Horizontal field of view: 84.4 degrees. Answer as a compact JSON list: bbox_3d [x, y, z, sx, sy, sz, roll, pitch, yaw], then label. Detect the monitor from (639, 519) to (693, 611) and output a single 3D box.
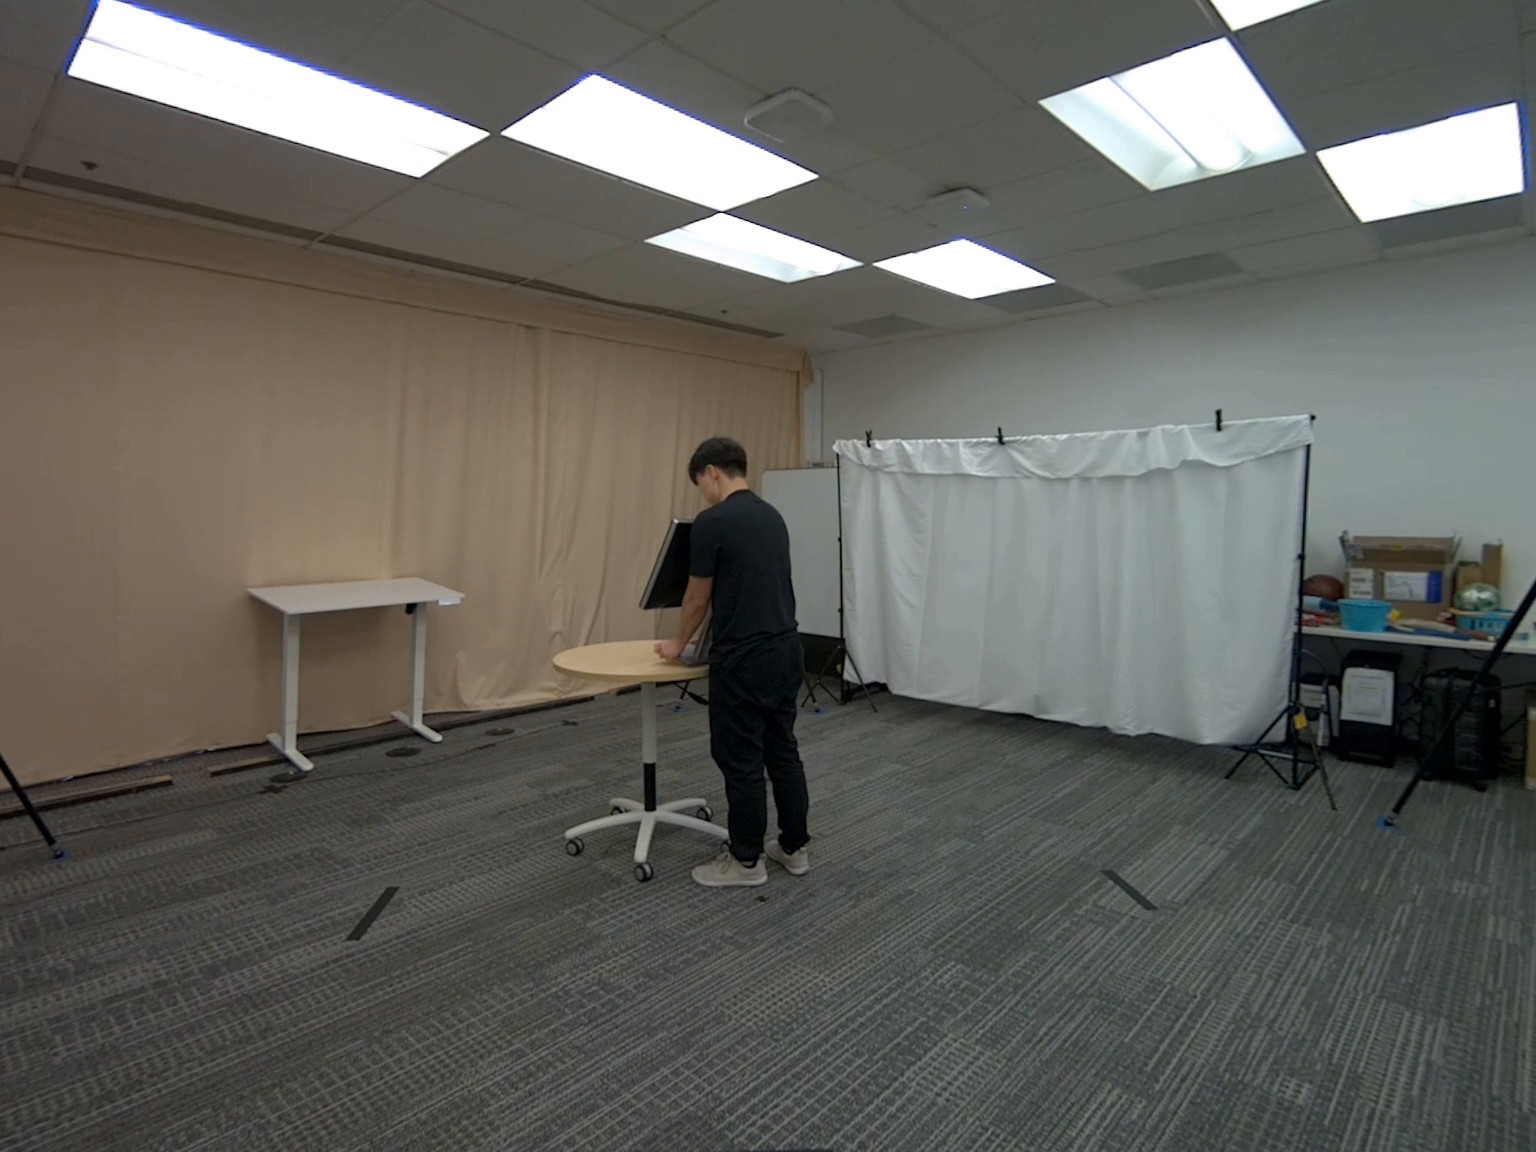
[{"bbox_3d":[-0.240,0.042,3.258,0.193,0.520,0.523,21,13,32],"label":"monitor"}]
